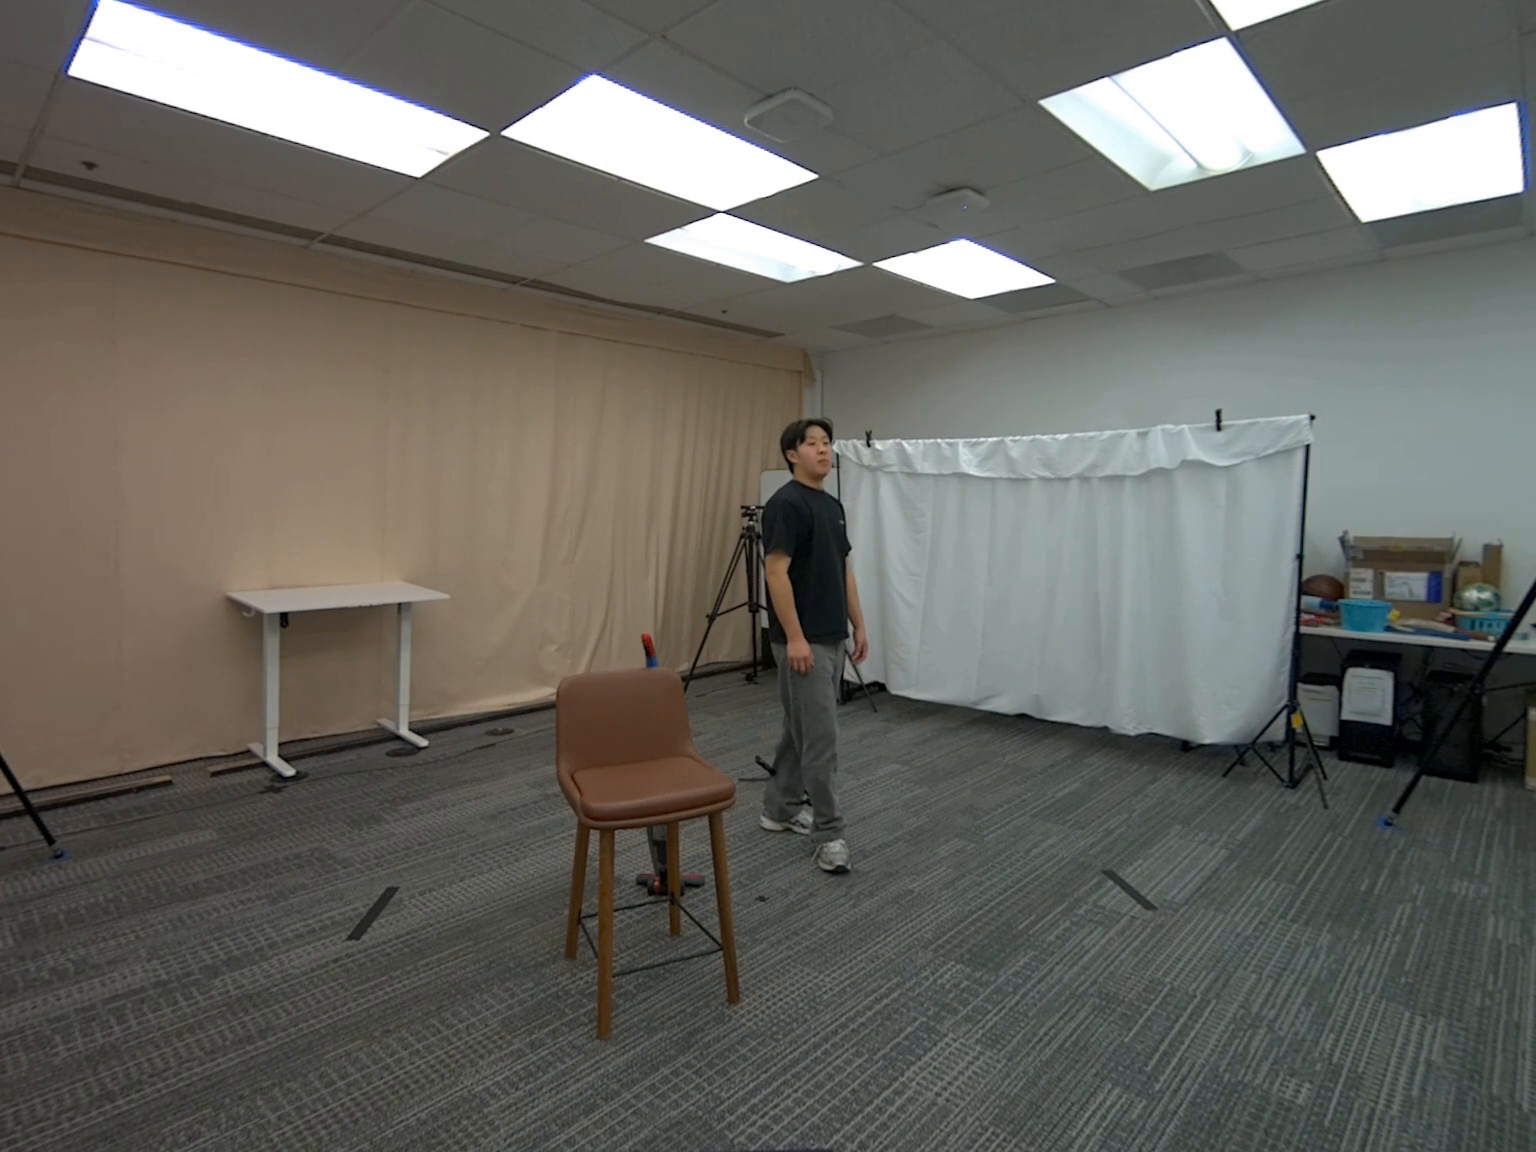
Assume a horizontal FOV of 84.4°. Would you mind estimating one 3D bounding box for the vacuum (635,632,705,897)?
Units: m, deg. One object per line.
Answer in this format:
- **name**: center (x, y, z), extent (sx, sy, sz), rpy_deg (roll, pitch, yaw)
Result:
- **vacuum**: center (-0.377, 0.662, 2.863), extent (0.253, 1.034, 0.146), rpy_deg (-1, 23, 0)
